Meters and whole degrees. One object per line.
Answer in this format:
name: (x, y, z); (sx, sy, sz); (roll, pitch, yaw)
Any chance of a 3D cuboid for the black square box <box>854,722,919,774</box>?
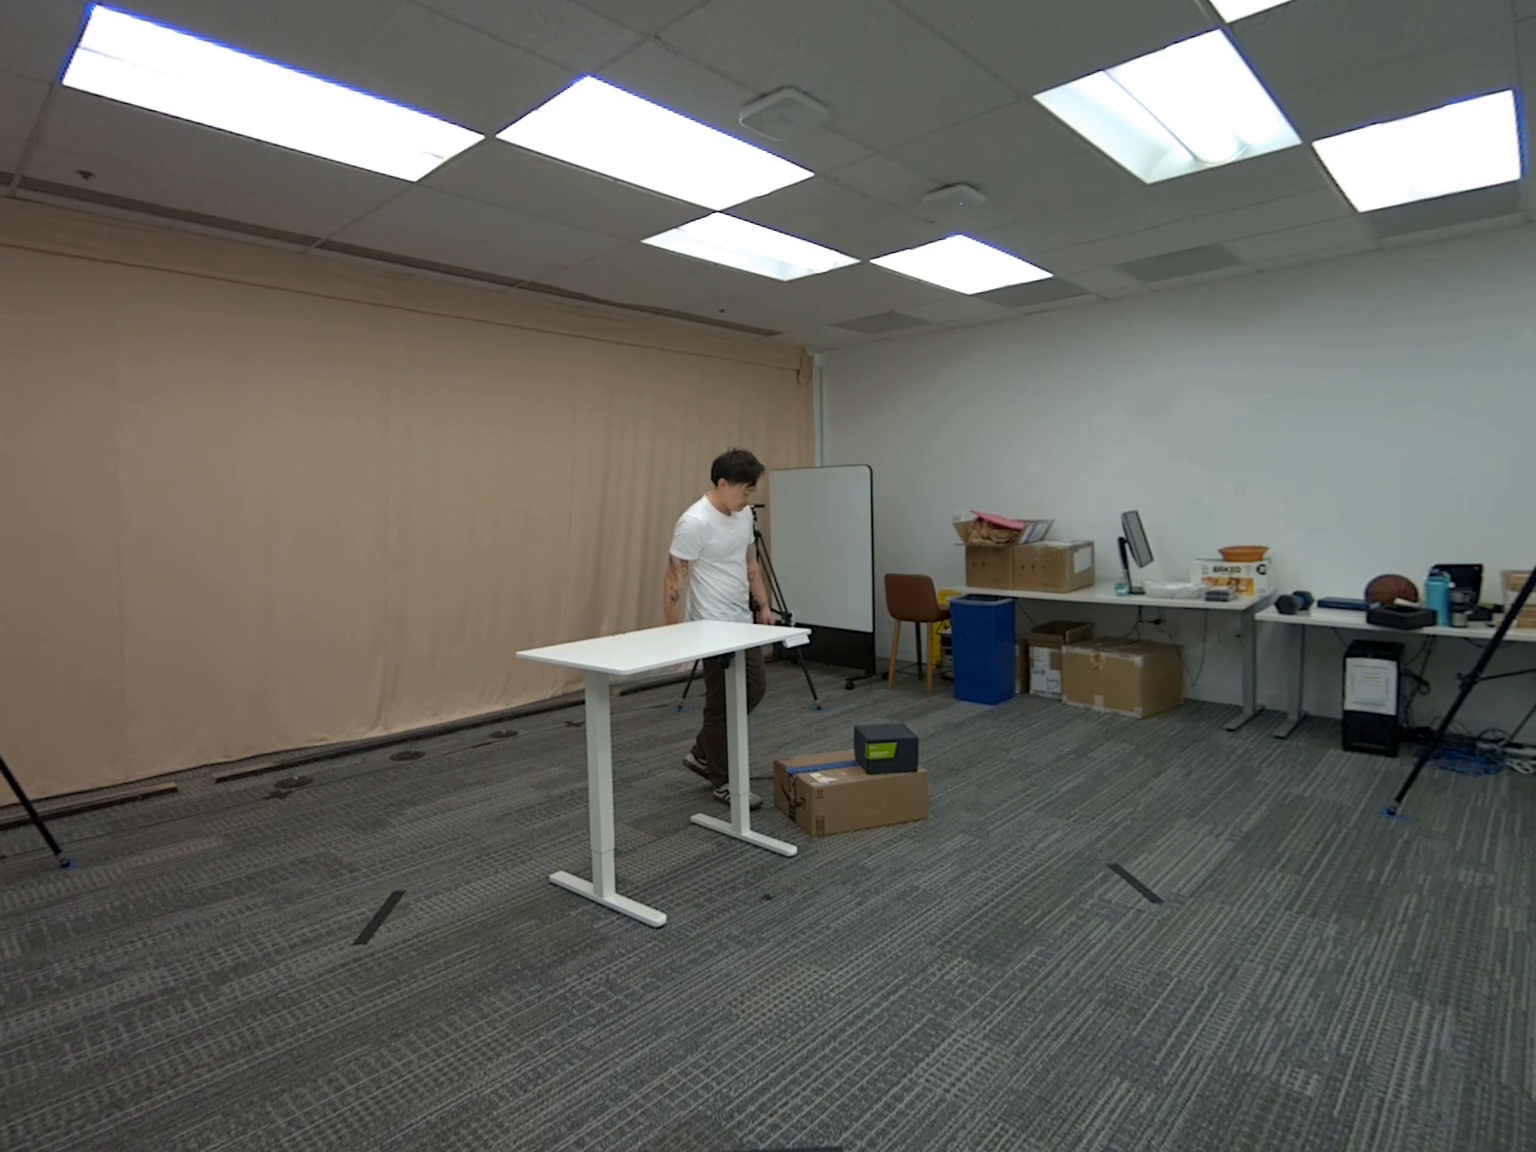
black square box: (0.524, 0.764, 3.747); (0.226, 0.155, 0.219); (-2, 5, -7)
